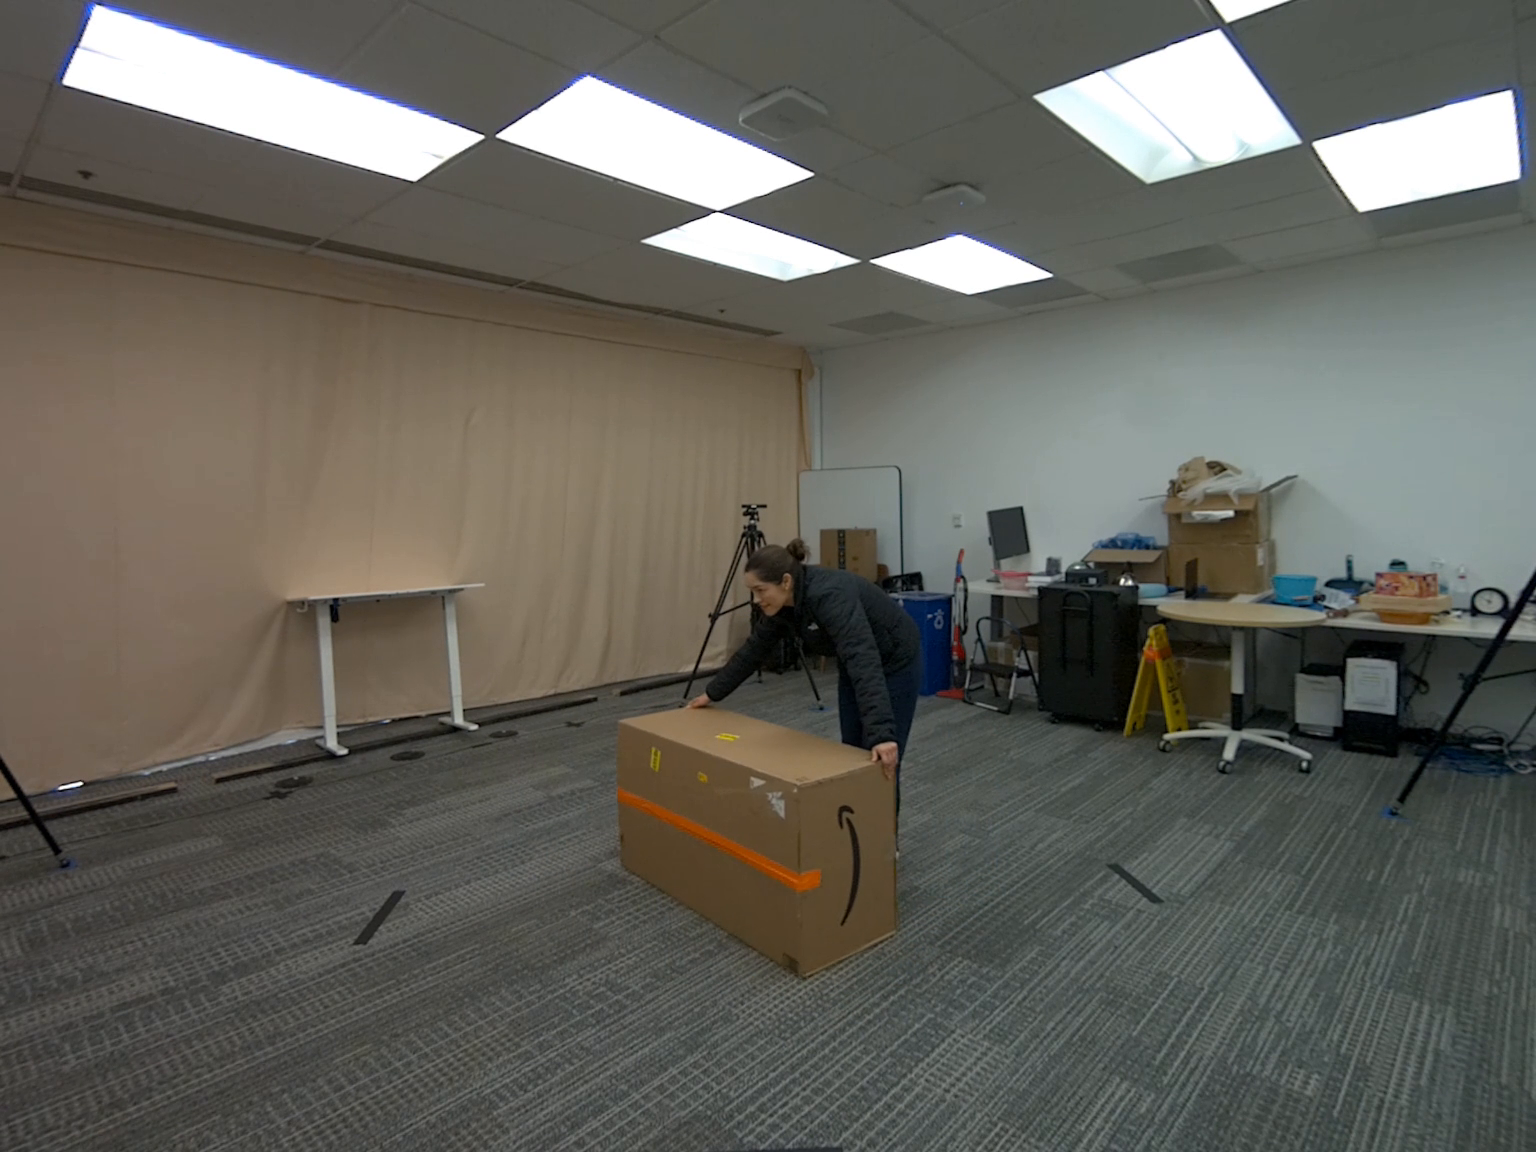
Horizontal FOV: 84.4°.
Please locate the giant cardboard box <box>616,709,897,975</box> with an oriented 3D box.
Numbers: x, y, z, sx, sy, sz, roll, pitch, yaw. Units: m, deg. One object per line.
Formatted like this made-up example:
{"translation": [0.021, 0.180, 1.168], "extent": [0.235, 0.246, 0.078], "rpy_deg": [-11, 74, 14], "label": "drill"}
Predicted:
{"translation": [-0.079, 0.855, 2.978], "extent": [0.433, 0.582, 1.060], "rpy_deg": [-5, 5, -40], "label": "giant cardboard box"}
